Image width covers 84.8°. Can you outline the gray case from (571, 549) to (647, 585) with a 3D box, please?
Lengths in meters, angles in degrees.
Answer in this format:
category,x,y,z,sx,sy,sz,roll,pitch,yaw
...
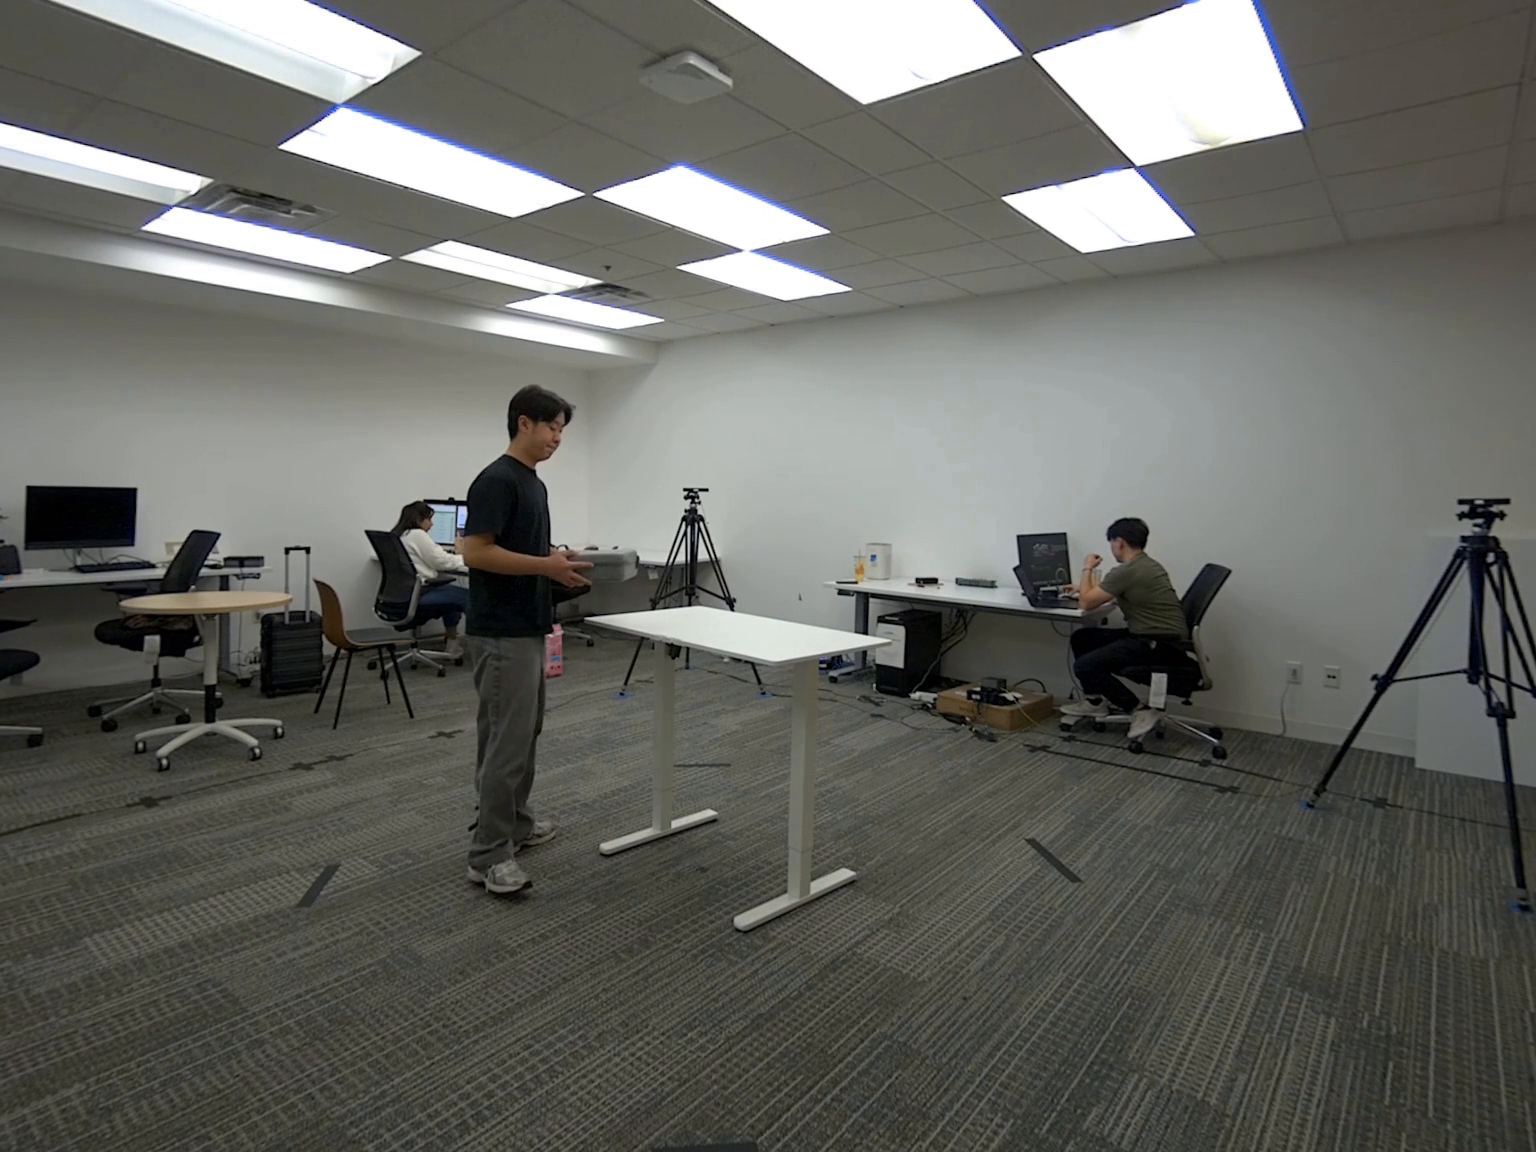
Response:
category,x,y,z,sx,sy,sz,roll,pitch,yaw
gray case,-0.618,-0.036,3.095,0.289,0.103,0.262,-2,4,5
